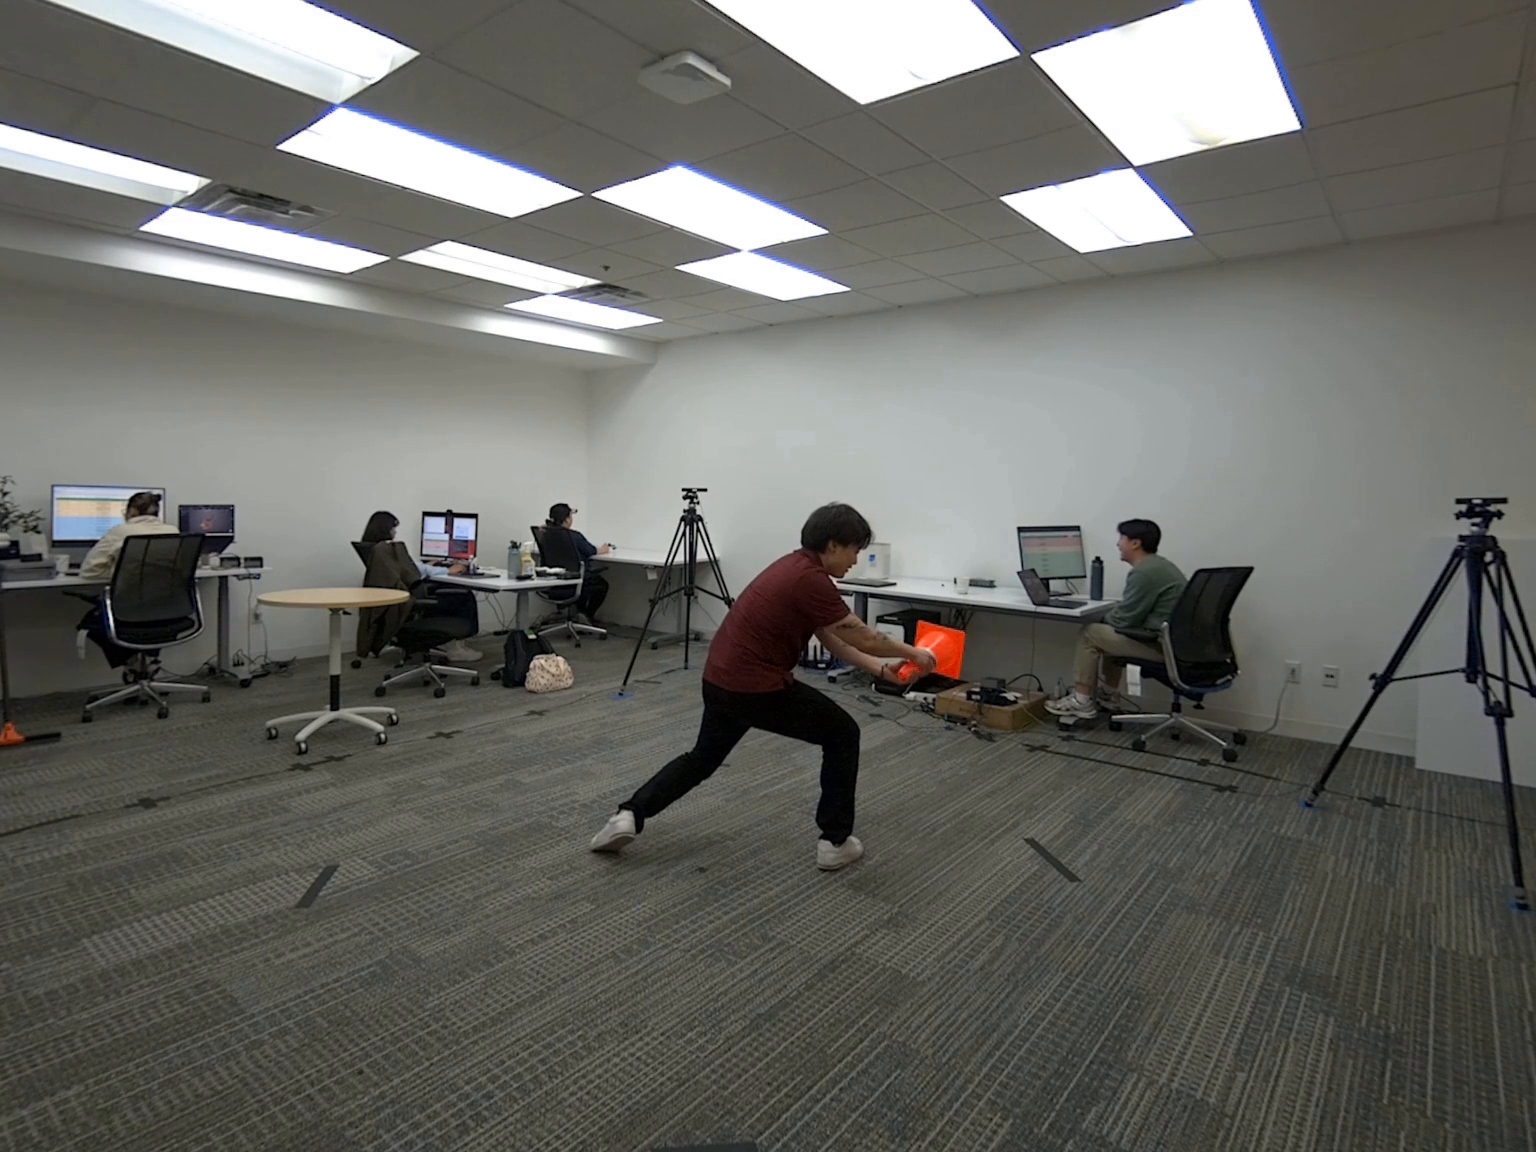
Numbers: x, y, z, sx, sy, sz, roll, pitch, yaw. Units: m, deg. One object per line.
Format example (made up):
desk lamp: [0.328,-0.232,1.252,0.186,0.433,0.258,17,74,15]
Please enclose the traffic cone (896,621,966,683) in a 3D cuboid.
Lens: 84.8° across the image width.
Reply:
traffic cone: [0.574,0.326,3.282,0.212,0.201,0.375,13,17,32]
